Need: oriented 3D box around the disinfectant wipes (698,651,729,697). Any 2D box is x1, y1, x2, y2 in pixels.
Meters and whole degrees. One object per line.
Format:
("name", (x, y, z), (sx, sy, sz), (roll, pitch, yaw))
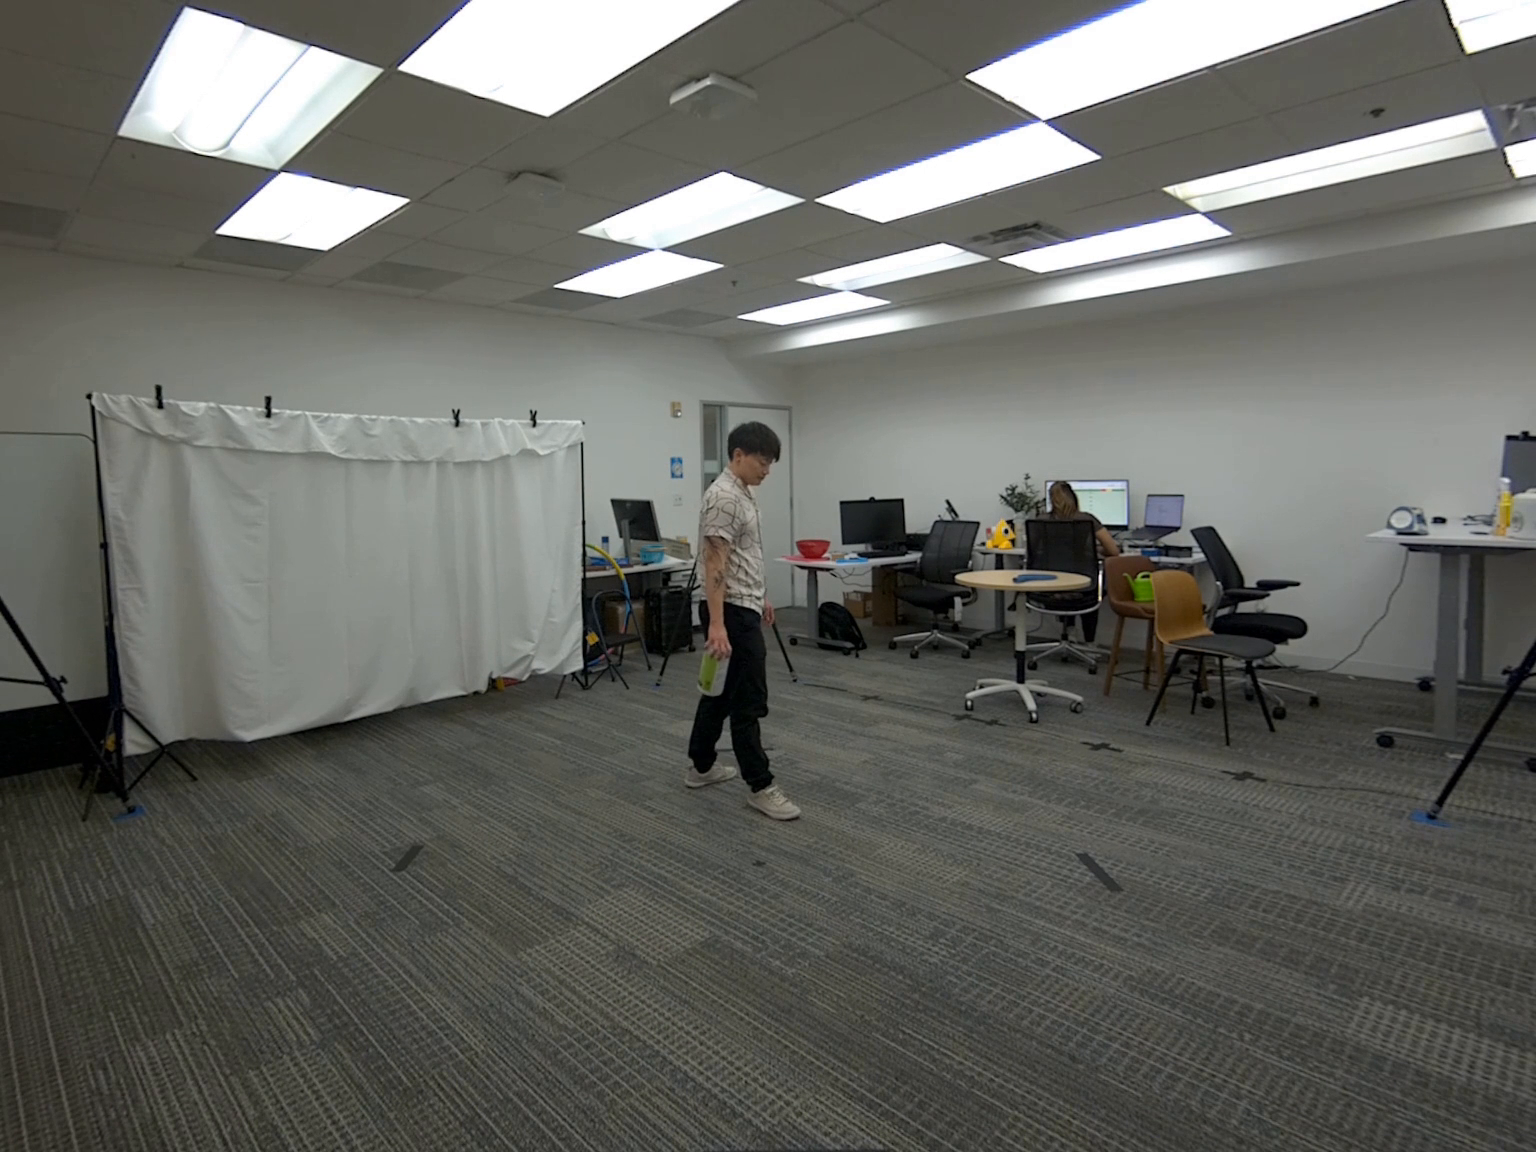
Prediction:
("disinfectant wipes", (-0.214, 0.384, 3.550), (0.117, 0.214, 0.120), (8, 21, -5))
